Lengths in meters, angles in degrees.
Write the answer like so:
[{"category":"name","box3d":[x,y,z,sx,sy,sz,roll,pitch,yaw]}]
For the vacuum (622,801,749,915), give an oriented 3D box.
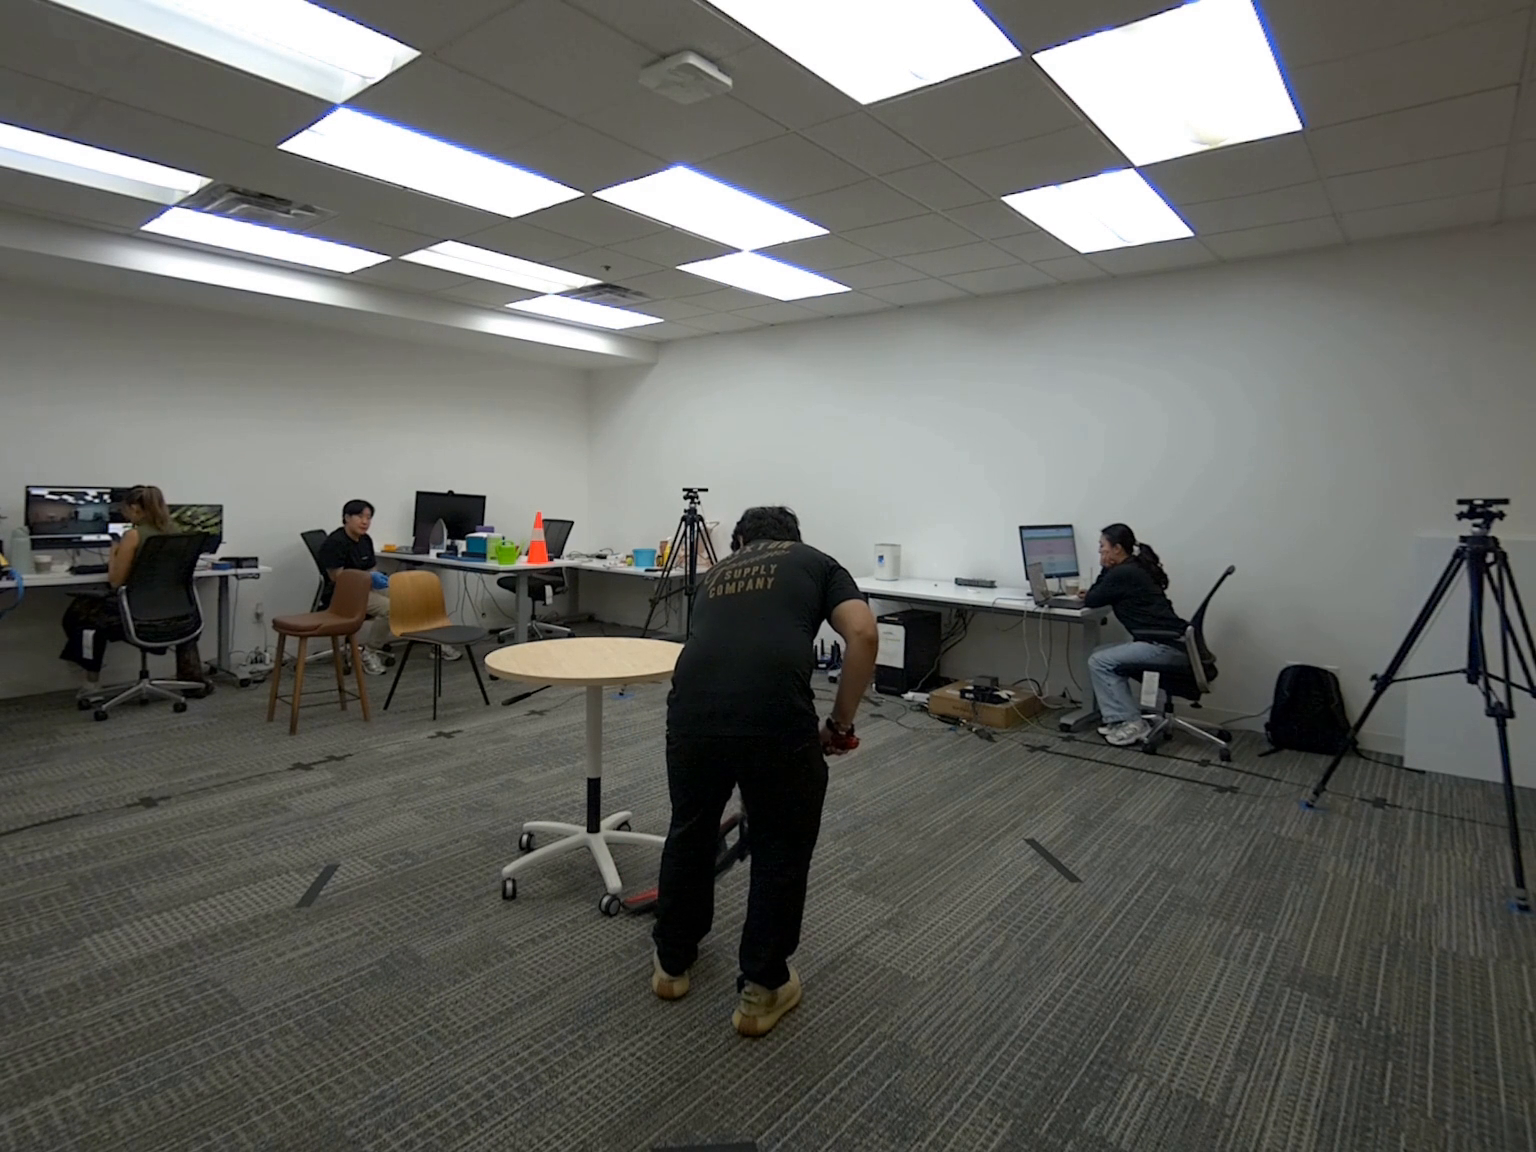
[{"category":"vacuum","box3d":[-0.079,0.745,2.522,0.245,0.149,1.047,-1,-37,-45]}]
